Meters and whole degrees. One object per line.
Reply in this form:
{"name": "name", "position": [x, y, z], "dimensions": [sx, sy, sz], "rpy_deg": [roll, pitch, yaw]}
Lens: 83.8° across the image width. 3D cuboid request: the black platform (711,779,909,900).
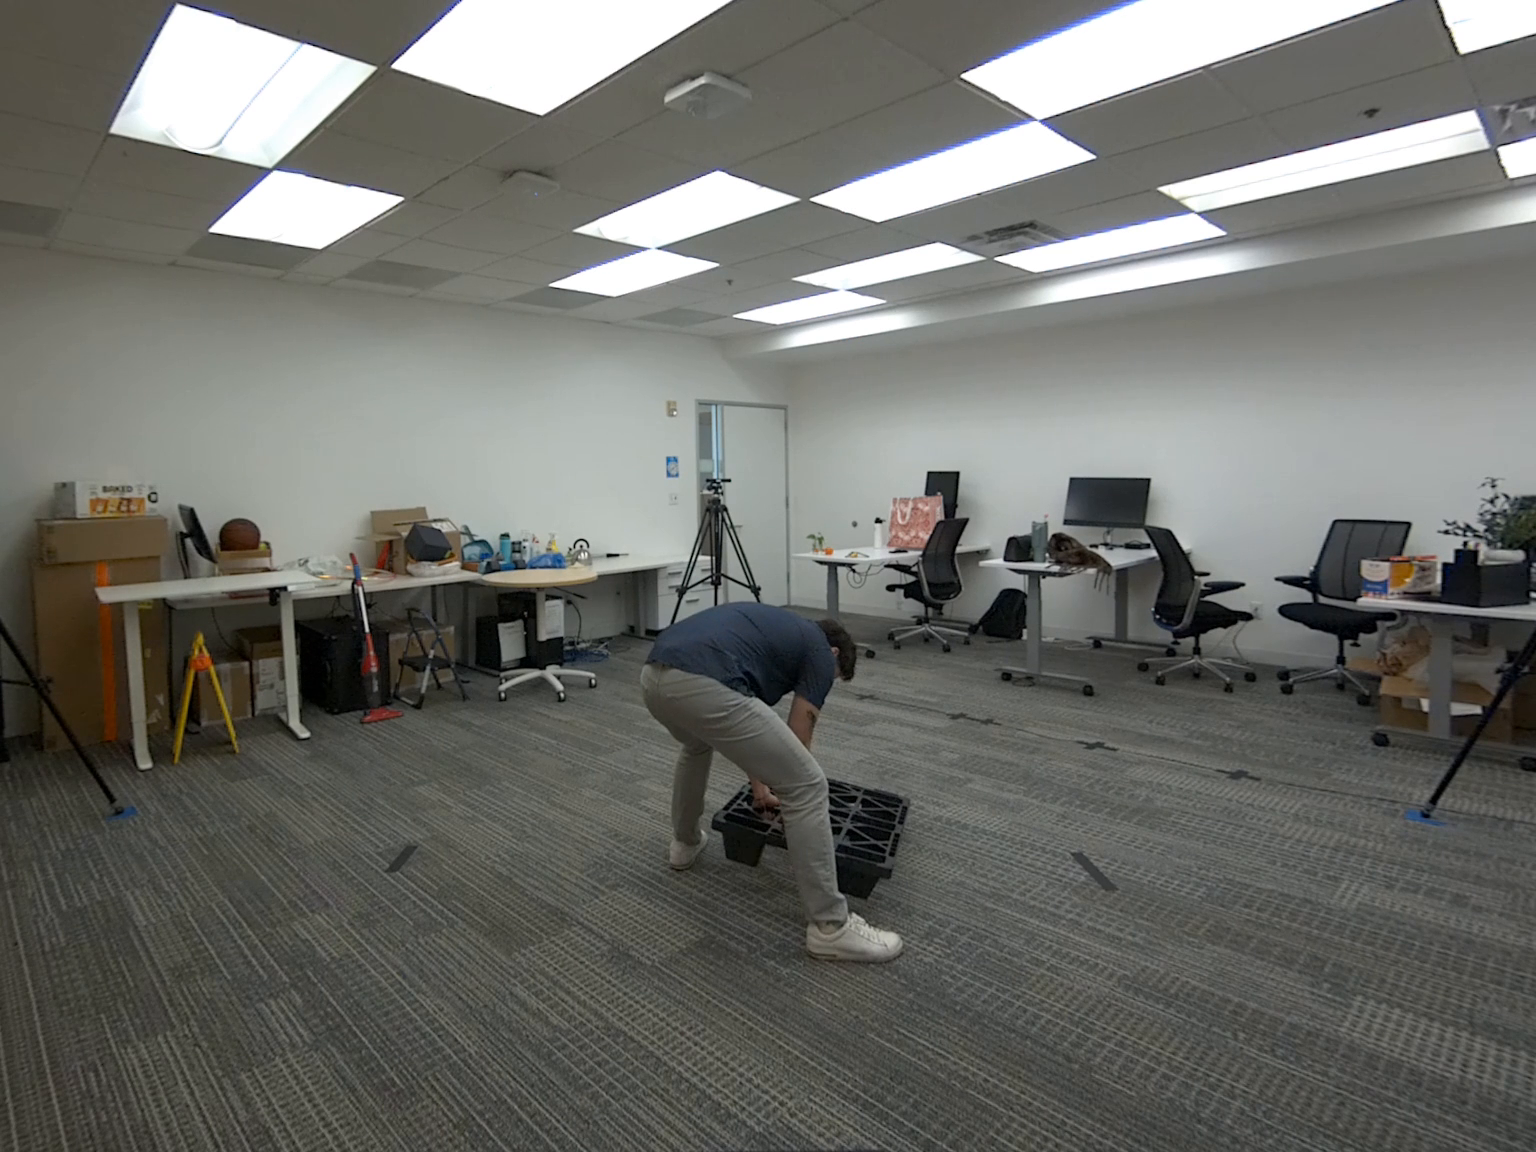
{"name": "black platform", "position": [0.177, 0.908, 3.111], "dimensions": [0.615, 0.143, 0.793], "rpy_deg": [10, 4, 14]}
